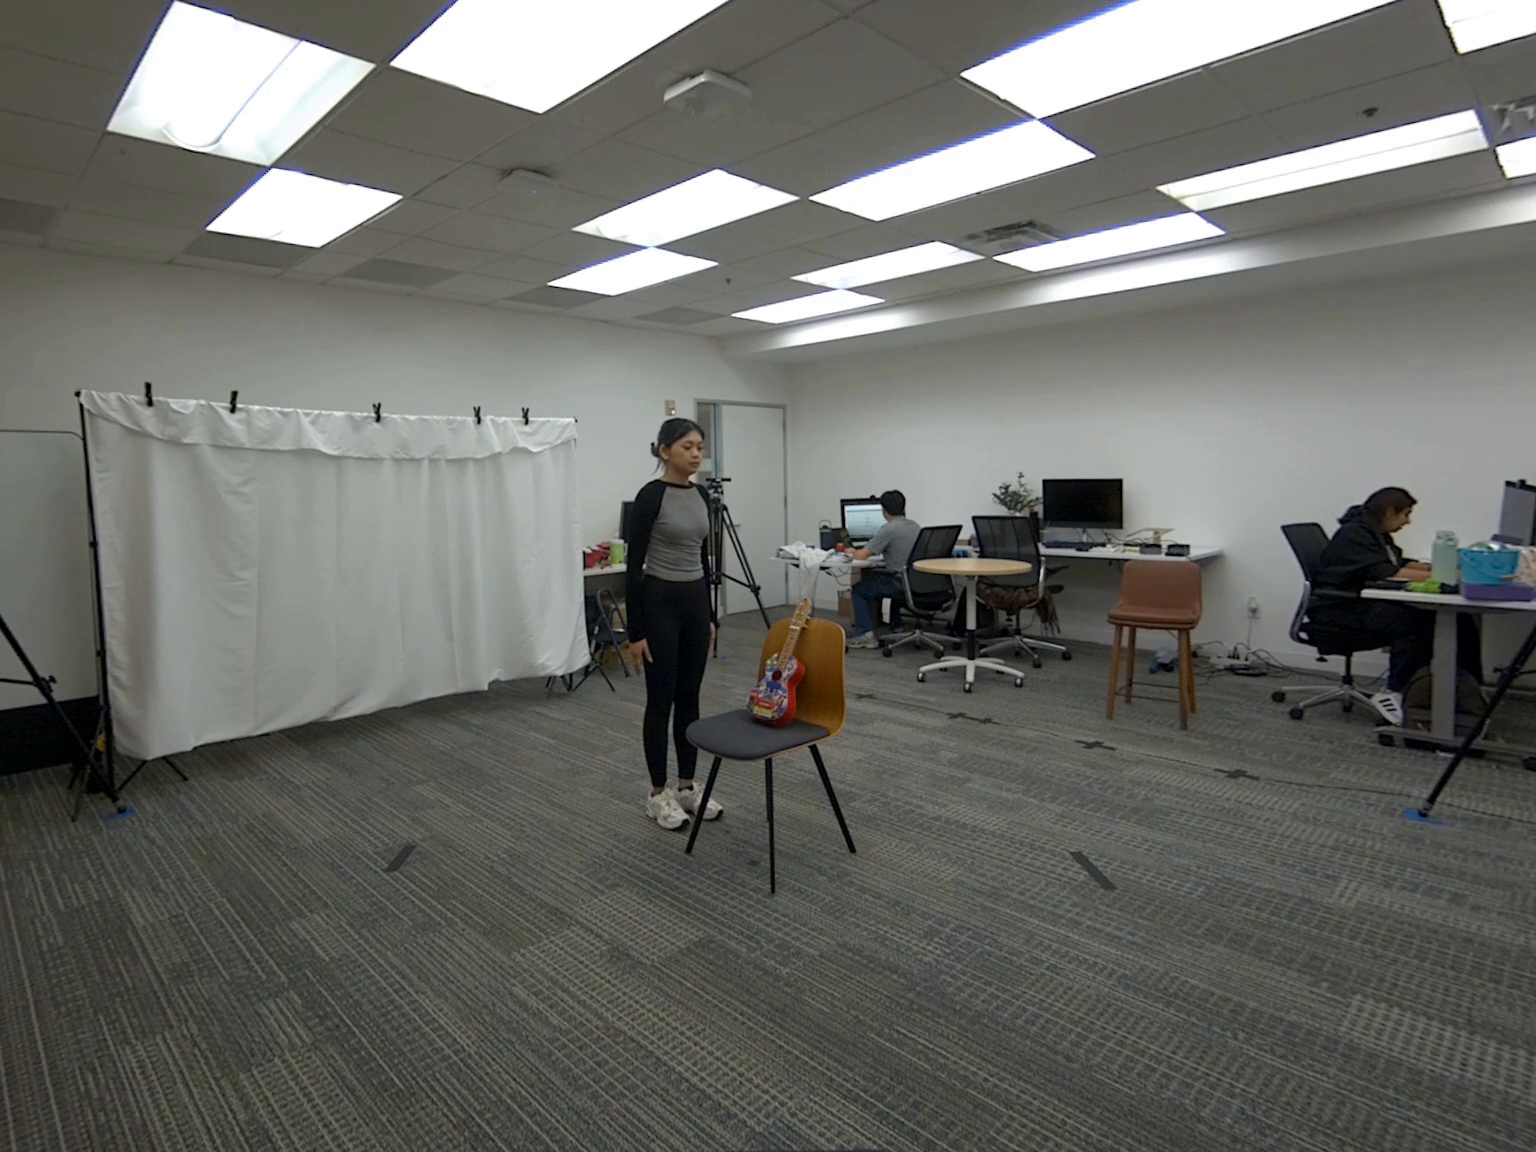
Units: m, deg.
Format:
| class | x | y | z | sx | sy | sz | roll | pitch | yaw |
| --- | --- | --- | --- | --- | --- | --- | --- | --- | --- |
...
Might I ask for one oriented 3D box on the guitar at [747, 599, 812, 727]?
| class | x | y | z | sx | sy | sz | roll | pitch | yaw |
| --- | --- | --- | --- | --- | --- | --- | --- | --- | --- |
| guitar | 0.094 | 0.330 | 3.260 | 0.200 | 0.500 | 0.068 | 17 | -17 | 44 |
